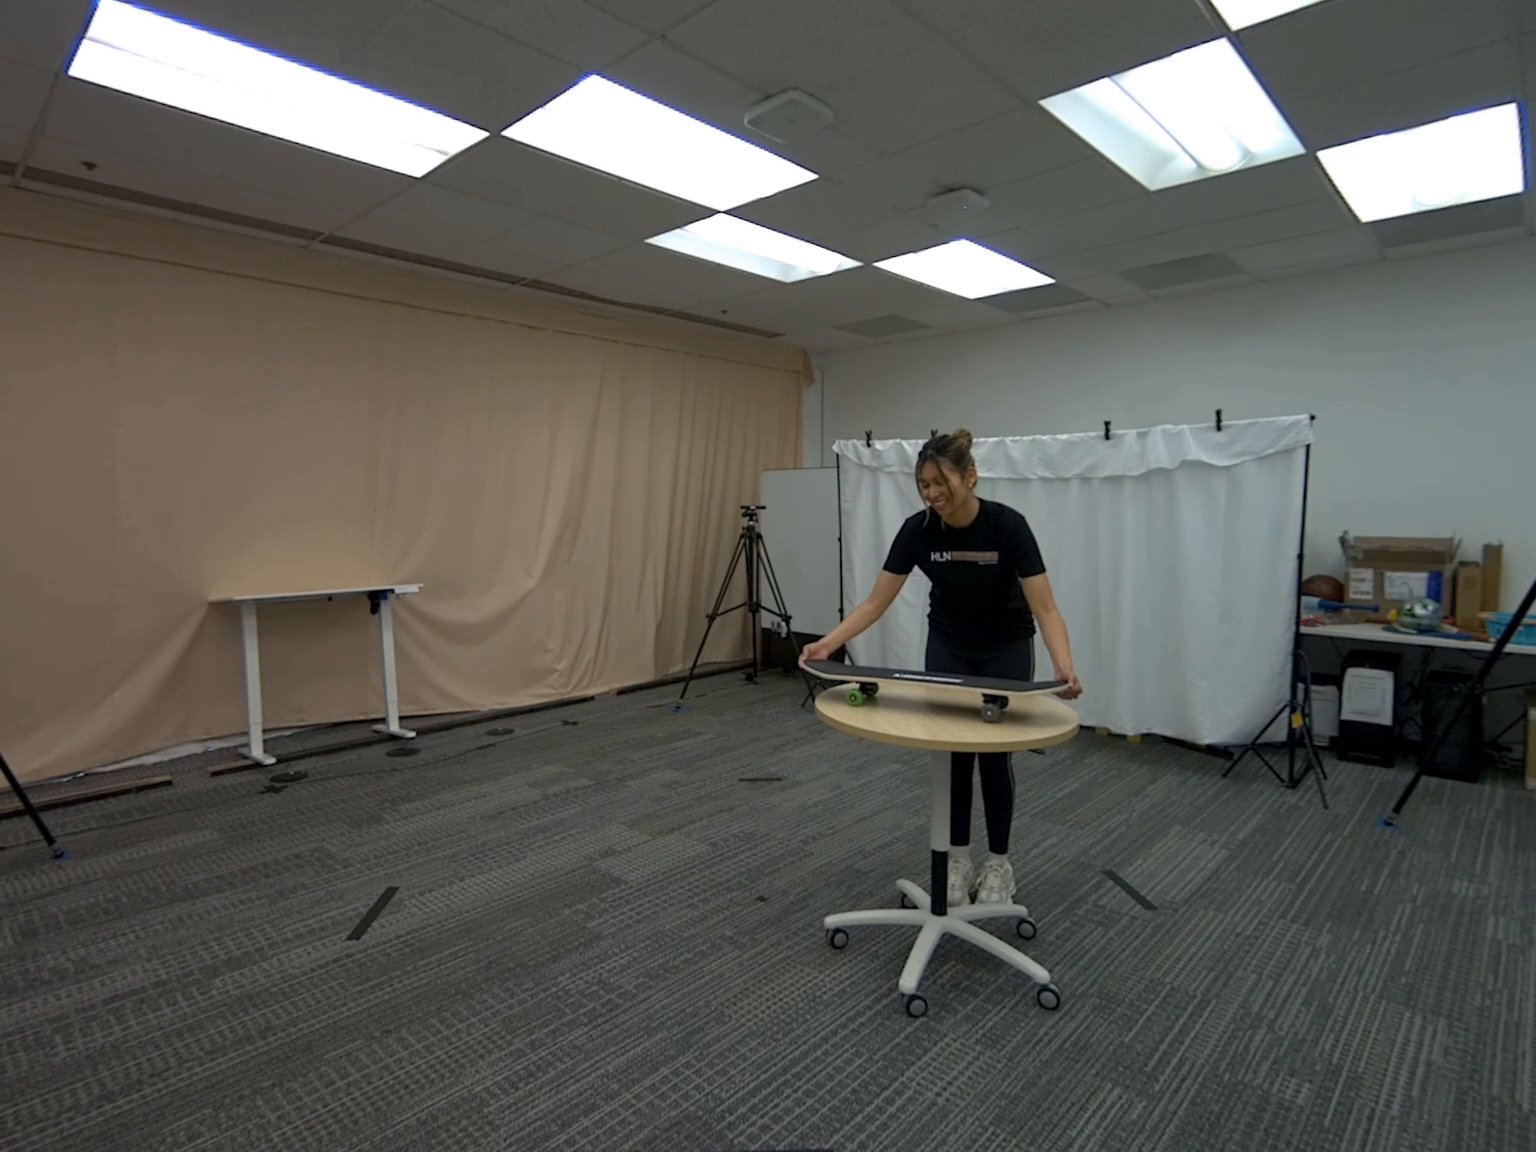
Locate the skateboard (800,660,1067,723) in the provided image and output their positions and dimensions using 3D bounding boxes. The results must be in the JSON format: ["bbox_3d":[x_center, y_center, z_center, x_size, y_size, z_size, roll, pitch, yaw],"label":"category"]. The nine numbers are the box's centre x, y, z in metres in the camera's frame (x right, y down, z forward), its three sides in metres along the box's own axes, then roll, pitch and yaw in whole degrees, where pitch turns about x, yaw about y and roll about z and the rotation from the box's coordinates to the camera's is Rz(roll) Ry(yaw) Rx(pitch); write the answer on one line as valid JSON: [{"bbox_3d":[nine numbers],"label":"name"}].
[{"bbox_3d":[0.494,0.343,2.527,0.808,0.110,0.188,1,4,30],"label":"skateboard"}]
